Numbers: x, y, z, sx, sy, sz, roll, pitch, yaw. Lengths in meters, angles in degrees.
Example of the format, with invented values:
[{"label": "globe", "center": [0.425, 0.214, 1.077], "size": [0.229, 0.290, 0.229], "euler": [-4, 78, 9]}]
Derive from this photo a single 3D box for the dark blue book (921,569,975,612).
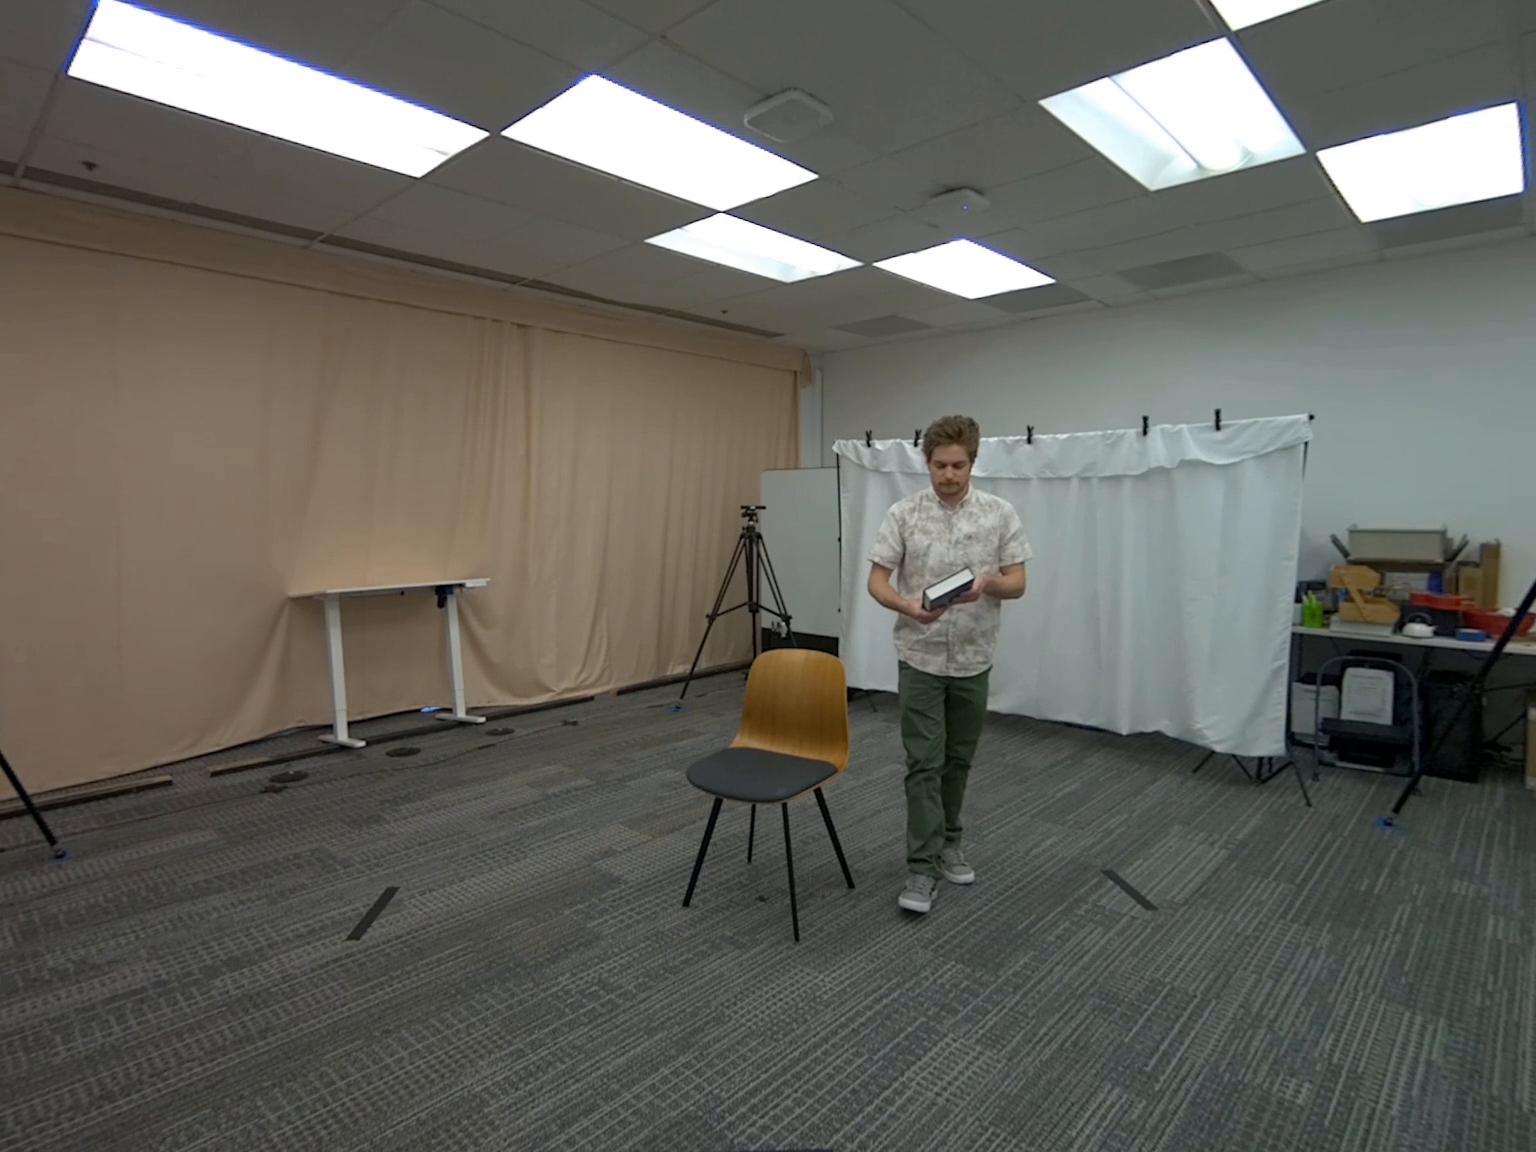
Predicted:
[{"label": "dark blue book", "center": [0.590, 0.057, 2.789], "size": [0.163, 0.046, 0.240], "euler": [-28, -17, 1]}]
